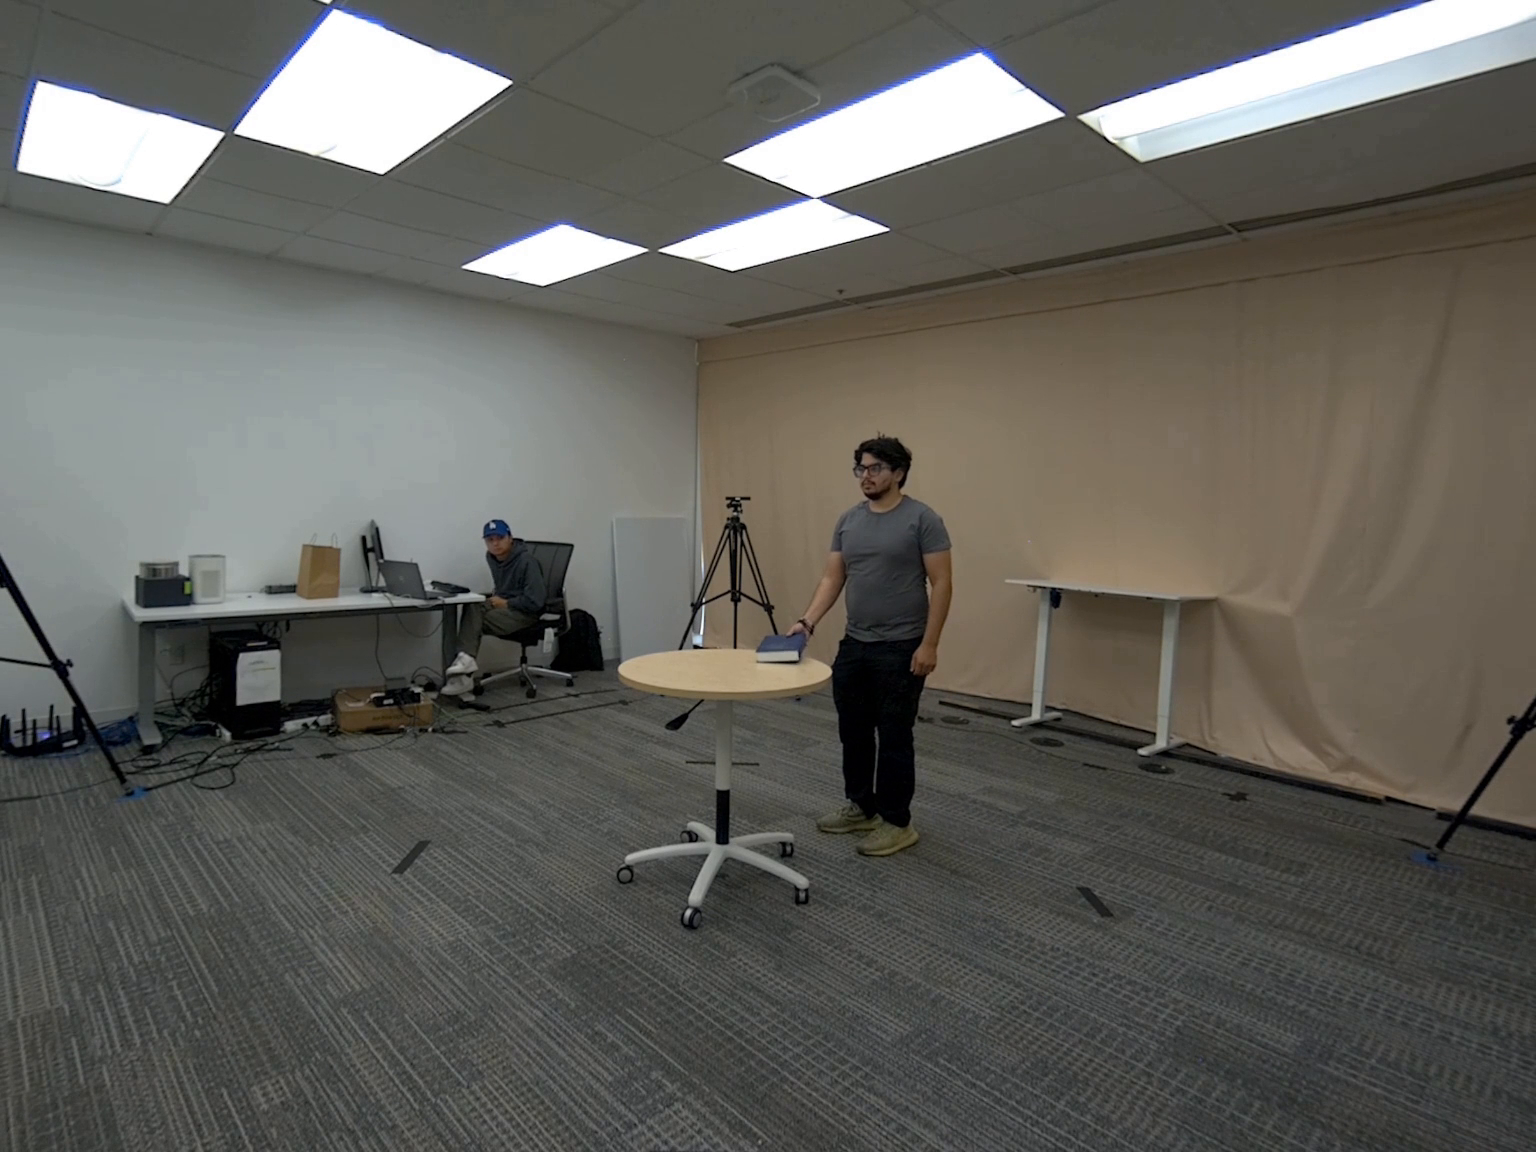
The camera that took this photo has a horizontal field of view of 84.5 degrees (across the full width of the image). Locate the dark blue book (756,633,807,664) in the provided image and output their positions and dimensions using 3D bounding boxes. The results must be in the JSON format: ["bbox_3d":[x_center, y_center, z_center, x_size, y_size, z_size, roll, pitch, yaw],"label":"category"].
[{"bbox_3d":[0.040,0.281,3.226,0.164,0.045,0.245,-2,9,7],"label":"dark blue book"}]
